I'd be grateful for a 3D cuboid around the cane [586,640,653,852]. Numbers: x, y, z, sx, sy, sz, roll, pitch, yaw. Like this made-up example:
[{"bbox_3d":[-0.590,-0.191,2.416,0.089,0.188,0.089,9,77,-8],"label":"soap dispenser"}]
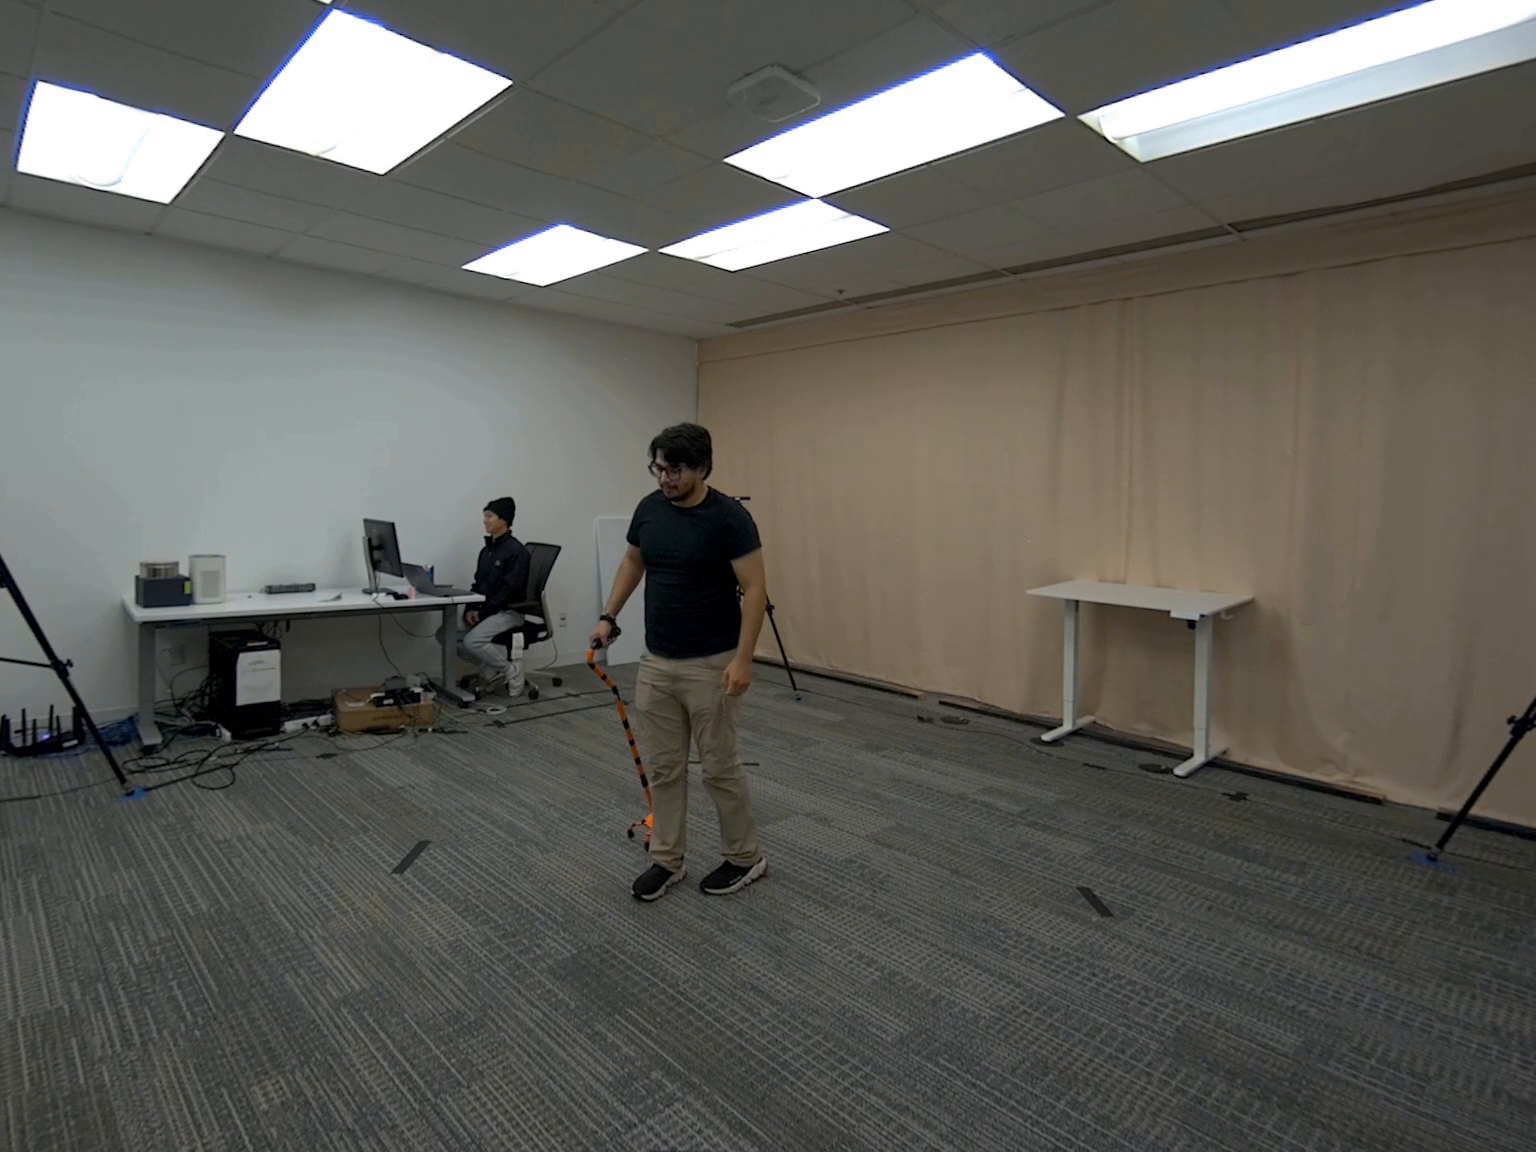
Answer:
[{"bbox_3d":[-0.551,0.630,3.235,0.204,0.891,0.156,-29,27,-36],"label":"cane"}]
